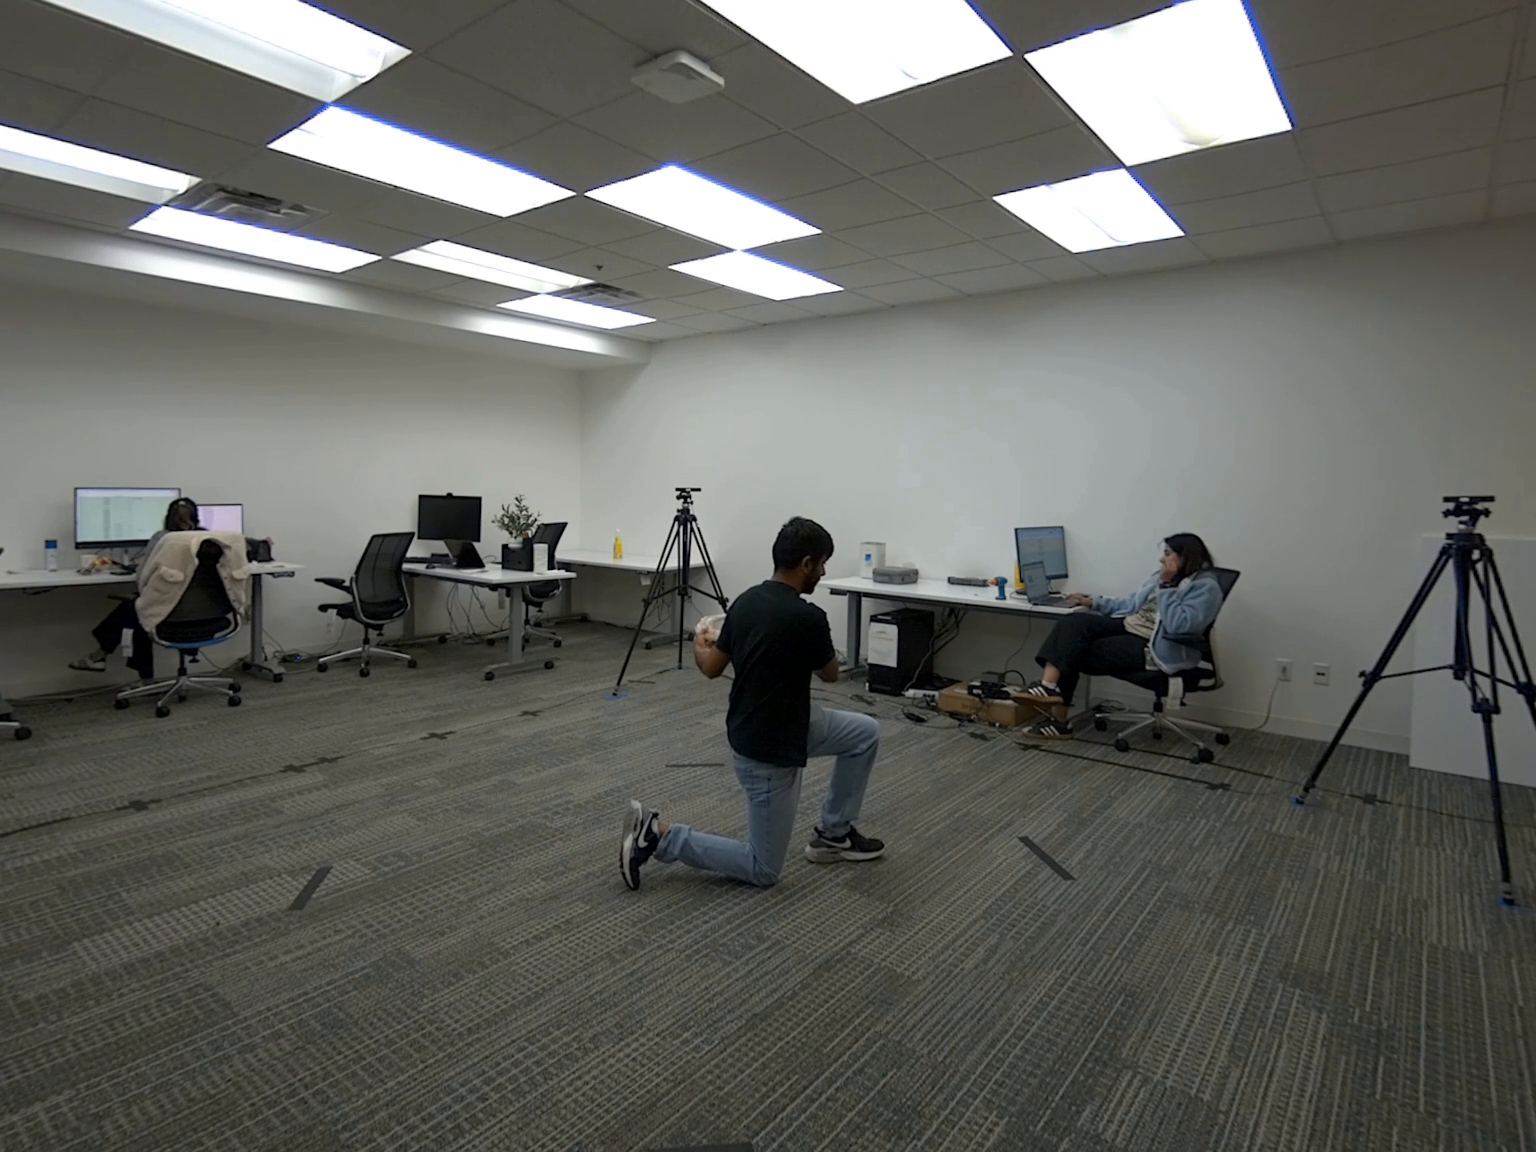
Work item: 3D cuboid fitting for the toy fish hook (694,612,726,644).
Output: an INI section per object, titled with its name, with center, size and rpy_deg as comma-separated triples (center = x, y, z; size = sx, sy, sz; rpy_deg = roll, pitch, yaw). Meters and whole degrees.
[toy fish hook]
center = -0.037, 0.217, 3.519
size = 0.515, 0.047, 0.226
rpy_deg = 3, 28, 15
